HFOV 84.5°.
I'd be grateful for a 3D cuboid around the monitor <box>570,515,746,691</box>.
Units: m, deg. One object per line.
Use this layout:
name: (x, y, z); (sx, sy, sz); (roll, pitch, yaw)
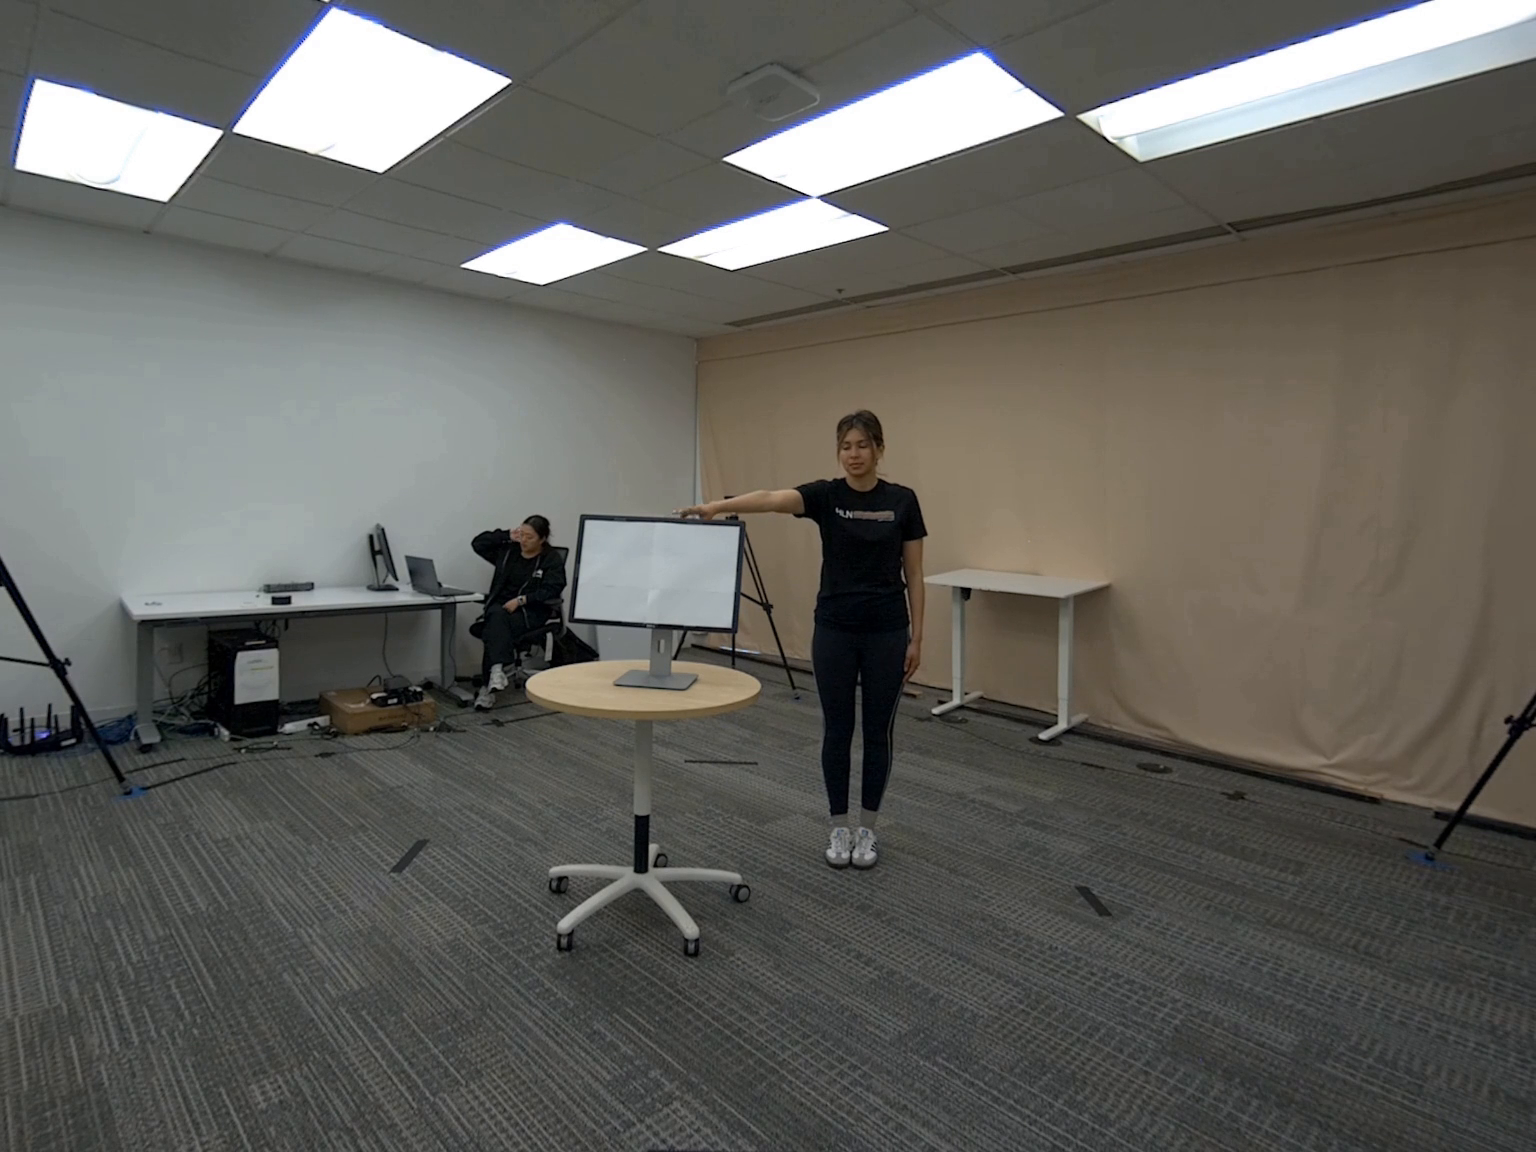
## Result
monitor: (-0.359, 0.089, 2.765); (0.543, 0.521, 0.186); (3, 3, 8)
